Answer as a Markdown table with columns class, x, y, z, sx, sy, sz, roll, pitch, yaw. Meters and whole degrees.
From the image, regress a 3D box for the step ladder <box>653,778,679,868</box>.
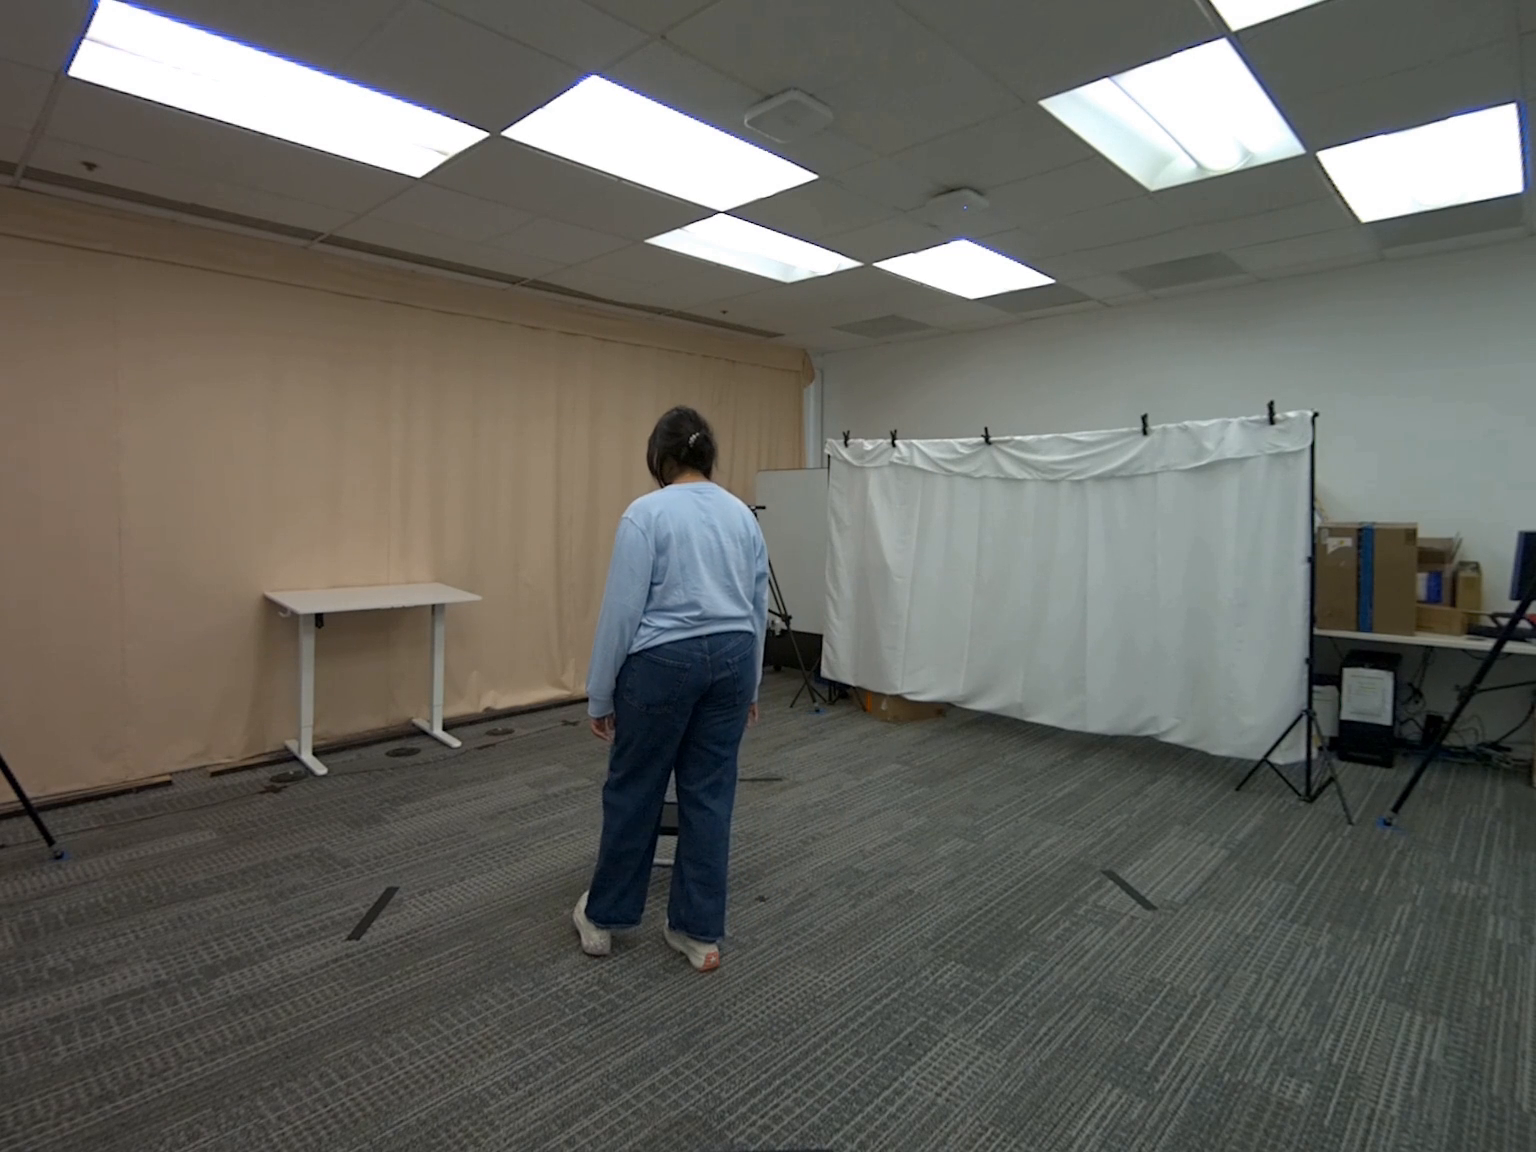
| class | x | y | z | sx | sy | sz | roll | pitch | yaw |
| --- | --- | --- | --- | --- | --- | --- | --- | --- | --- |
| step ladder | -0.389 | 0.836 | 3.086 | 0.435 | 0.605 | 0.347 | 0 | 3 | 8 |
